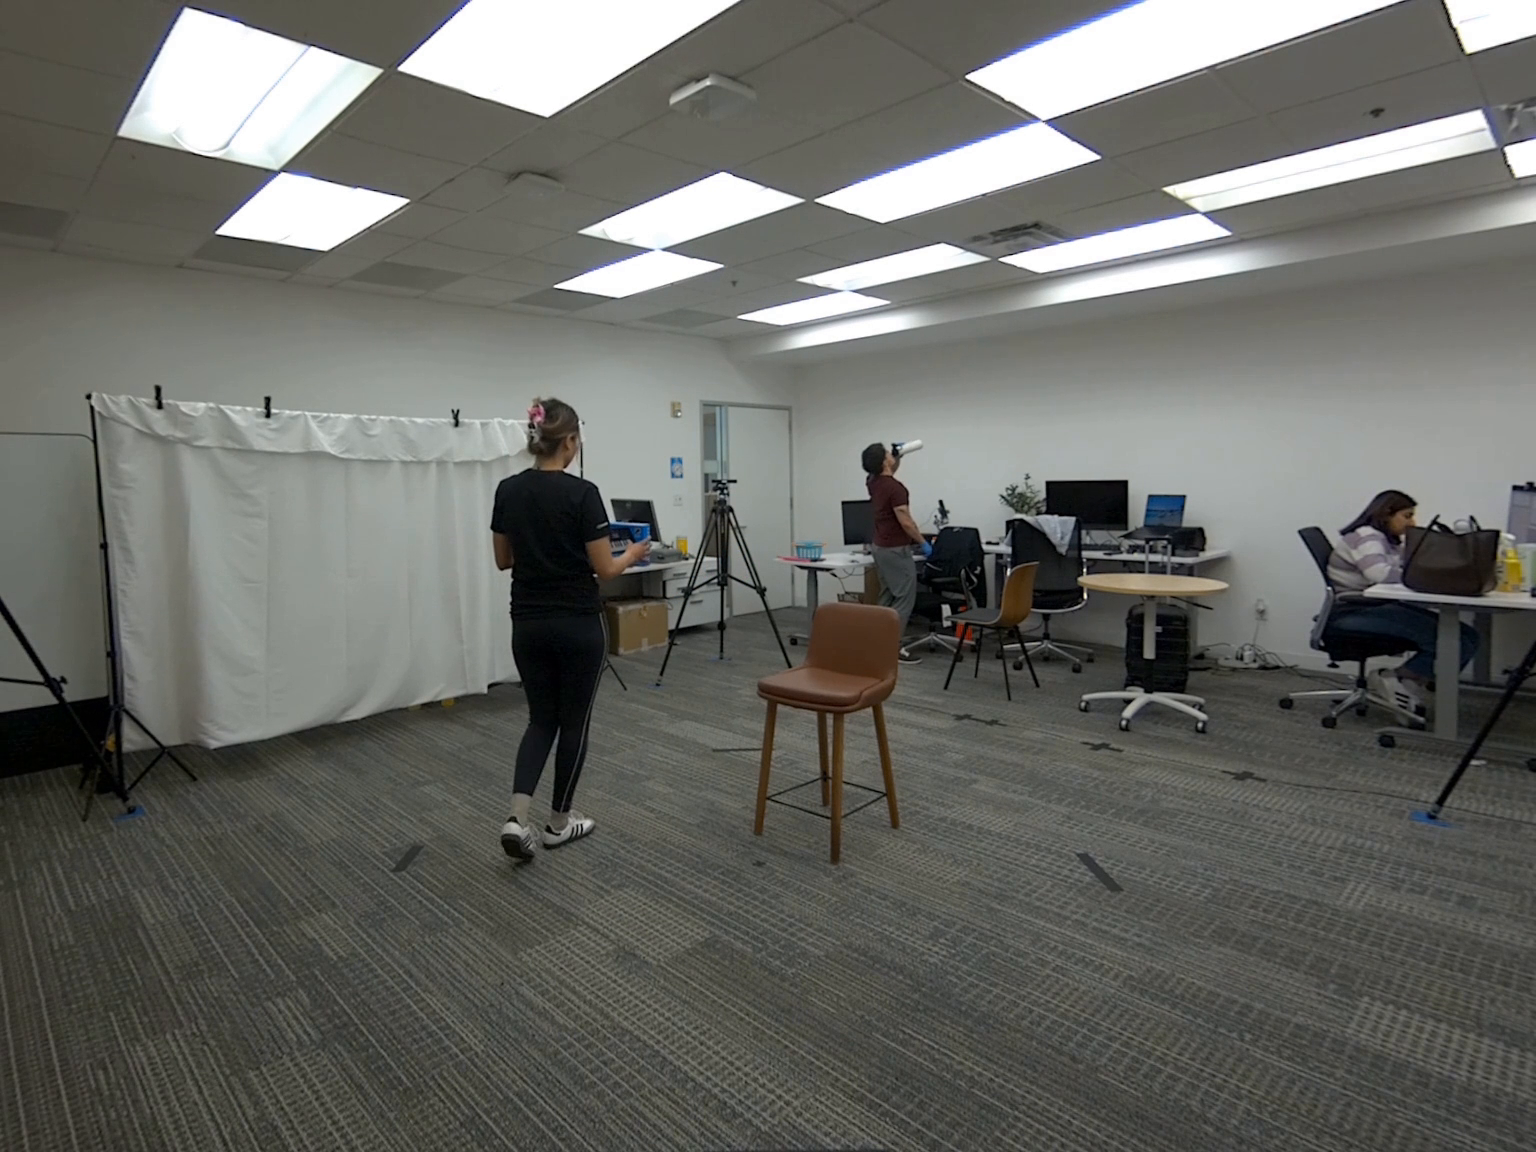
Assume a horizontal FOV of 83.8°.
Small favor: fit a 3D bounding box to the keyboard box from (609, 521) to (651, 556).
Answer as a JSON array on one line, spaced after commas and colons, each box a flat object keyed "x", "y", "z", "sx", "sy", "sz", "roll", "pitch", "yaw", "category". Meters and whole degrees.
[{"x": -0.697, "y": -0.136, "z": 3.581, "sx": 0.446, "sy": 0.175, "sz": 0.058, "roll": 5, "pitch": 7, "yaw": 23, "category": "keyboard box"}]
